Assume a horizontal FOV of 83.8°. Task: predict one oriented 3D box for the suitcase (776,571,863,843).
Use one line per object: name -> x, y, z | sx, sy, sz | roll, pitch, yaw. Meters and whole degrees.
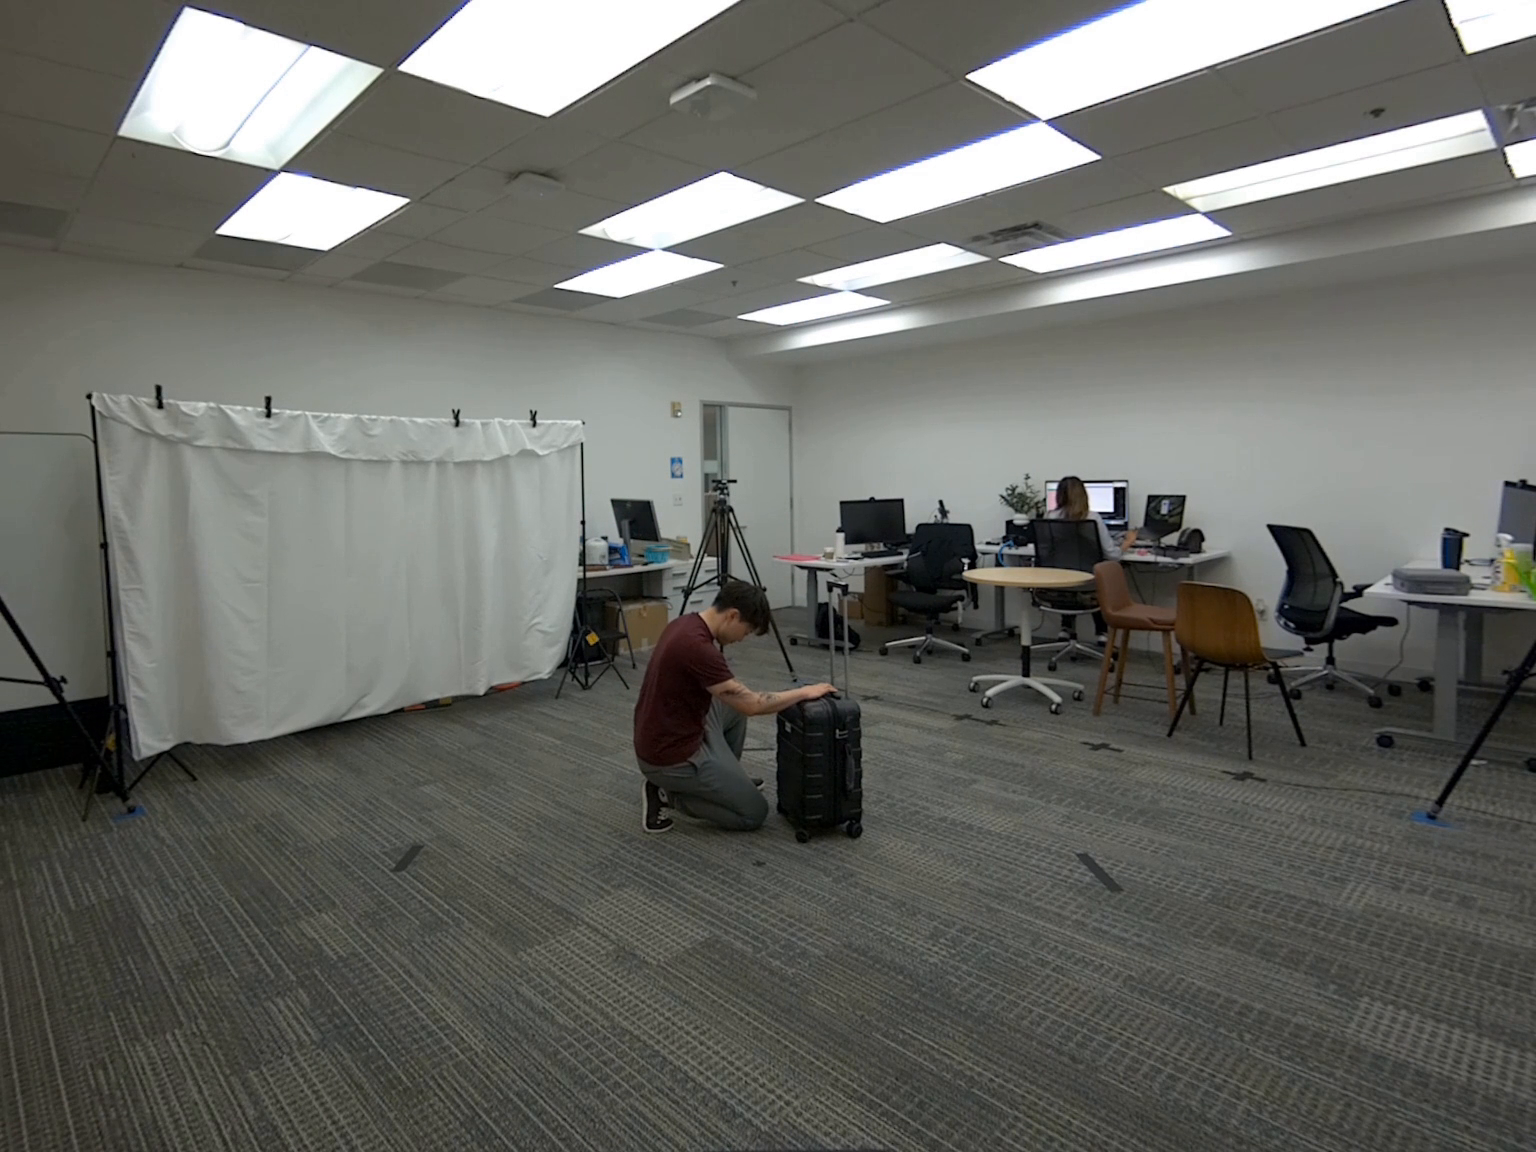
suitcase -> 0.196, 0.526, 3.423 | 0.253, 0.976, 0.390 | -2, 3, -16
